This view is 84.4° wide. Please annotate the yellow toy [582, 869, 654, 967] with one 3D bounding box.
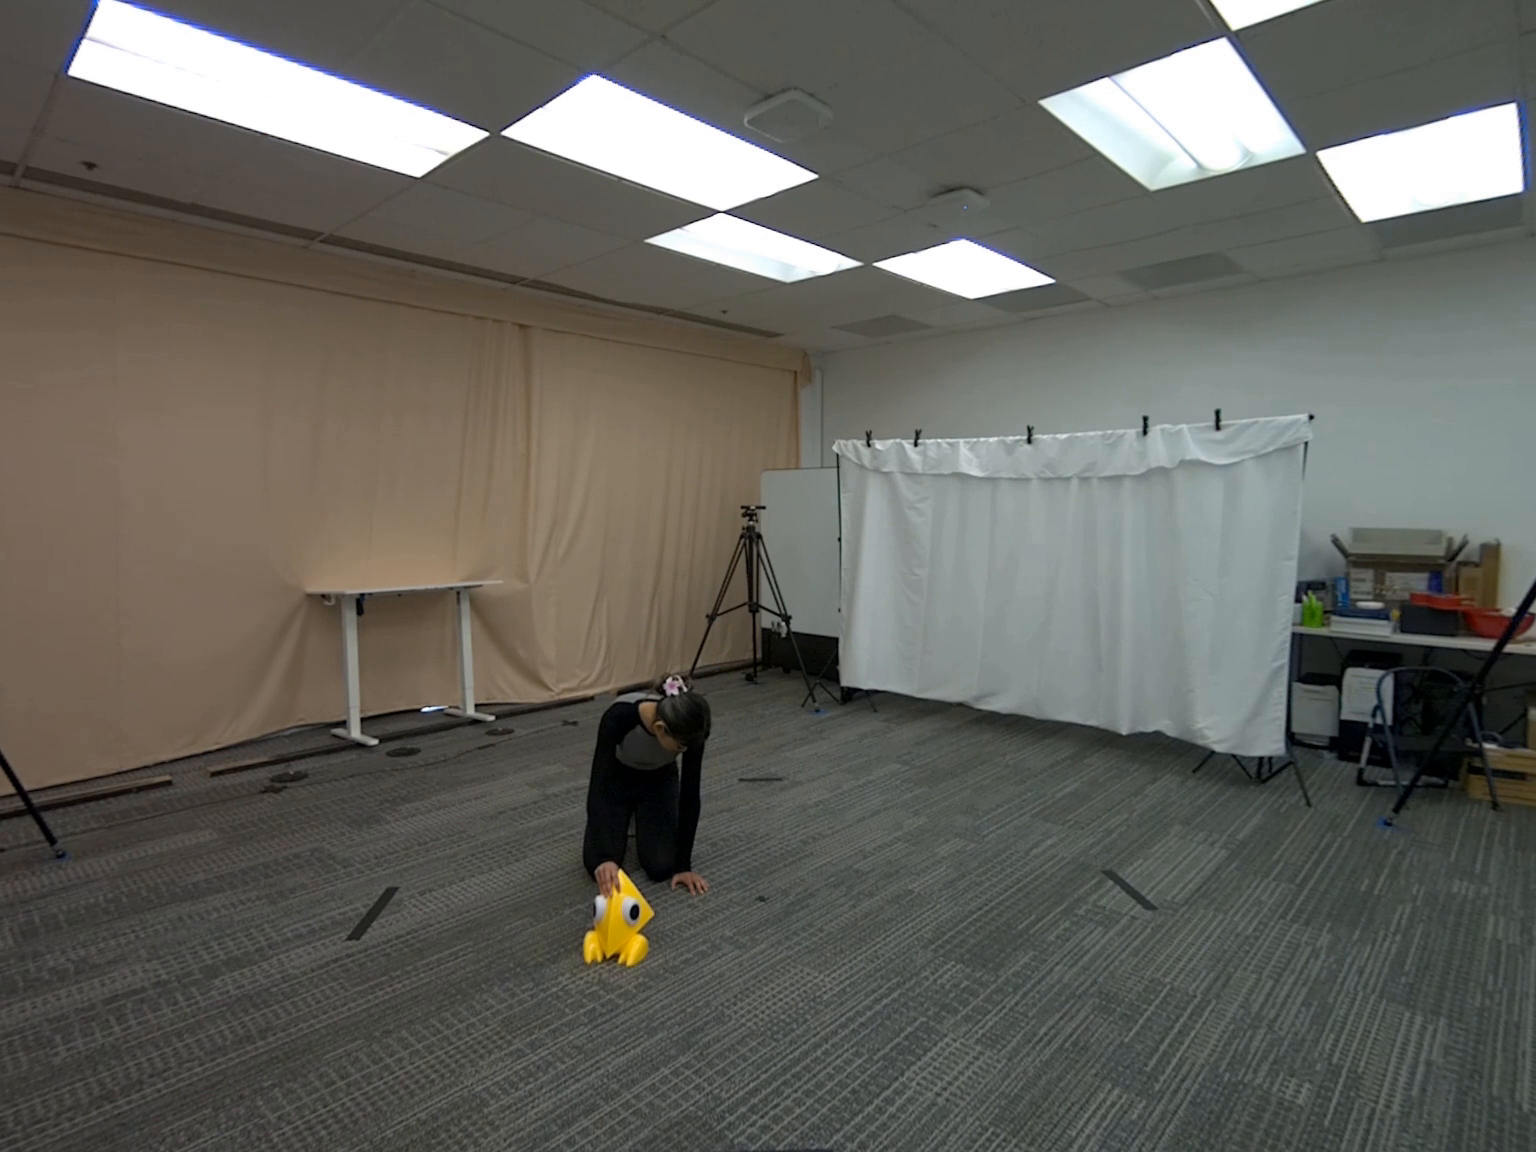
[{"bbox_3d":[-0.475,1.057,2.644,0.207,0.230,0.191,2,3,7],"label":"yellow toy"}]
